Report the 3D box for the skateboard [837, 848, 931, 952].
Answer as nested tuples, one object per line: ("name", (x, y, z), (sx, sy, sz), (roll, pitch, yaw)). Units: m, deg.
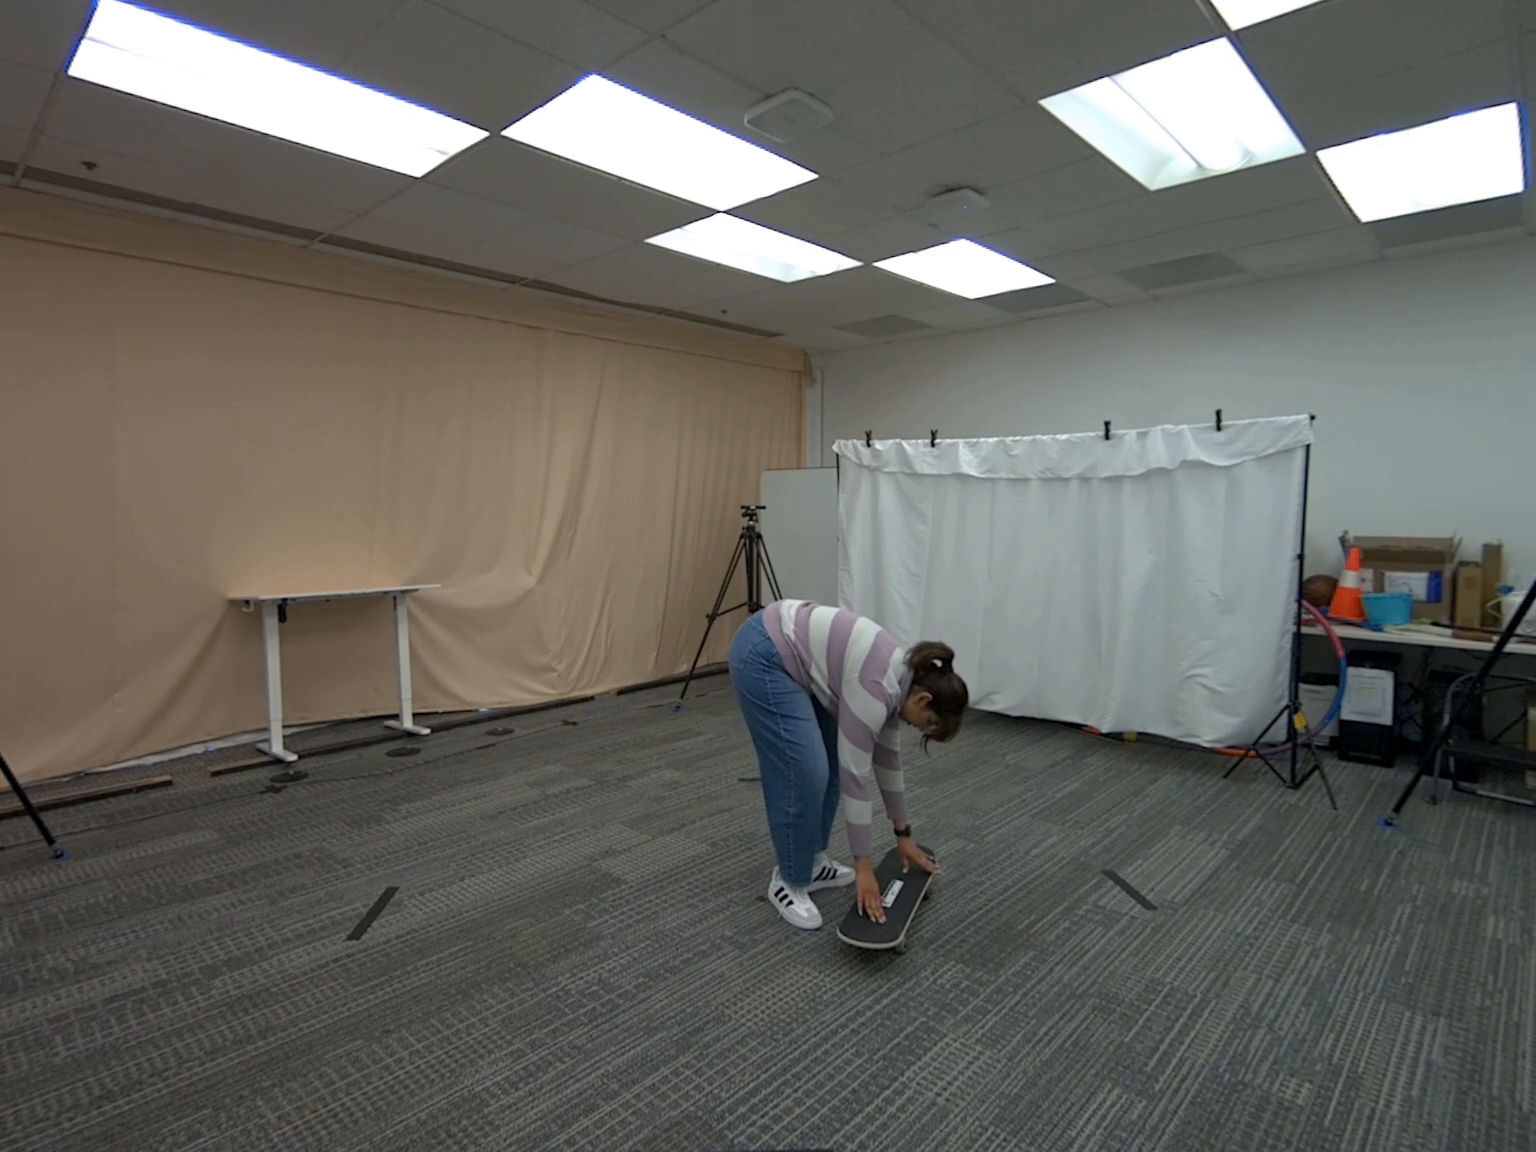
("skateboard", (0.424, 1.100, 2.825), (0.198, 0.110, 0.768), (0, 4, 22))
